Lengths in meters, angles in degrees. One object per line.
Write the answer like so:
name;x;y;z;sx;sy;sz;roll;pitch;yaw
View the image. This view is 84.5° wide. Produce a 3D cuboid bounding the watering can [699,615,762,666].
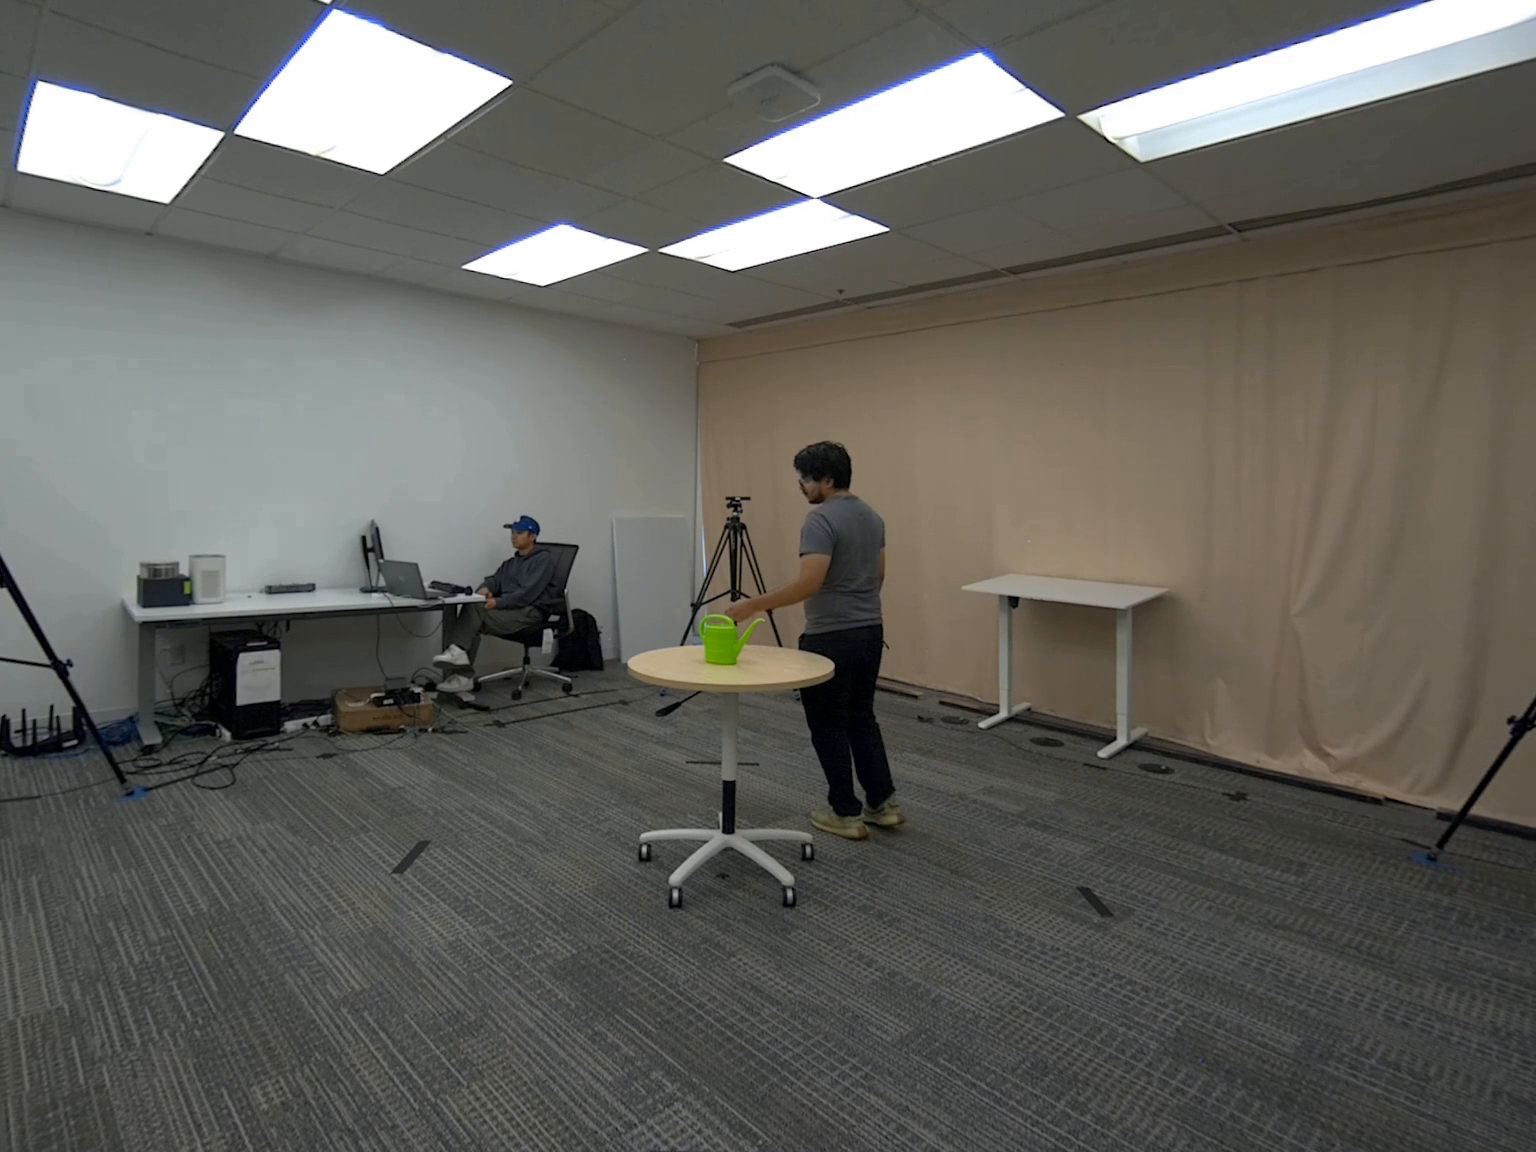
watering can;-0.155;0.238;3.085;0.285;0.176;0.096;5;6;45
